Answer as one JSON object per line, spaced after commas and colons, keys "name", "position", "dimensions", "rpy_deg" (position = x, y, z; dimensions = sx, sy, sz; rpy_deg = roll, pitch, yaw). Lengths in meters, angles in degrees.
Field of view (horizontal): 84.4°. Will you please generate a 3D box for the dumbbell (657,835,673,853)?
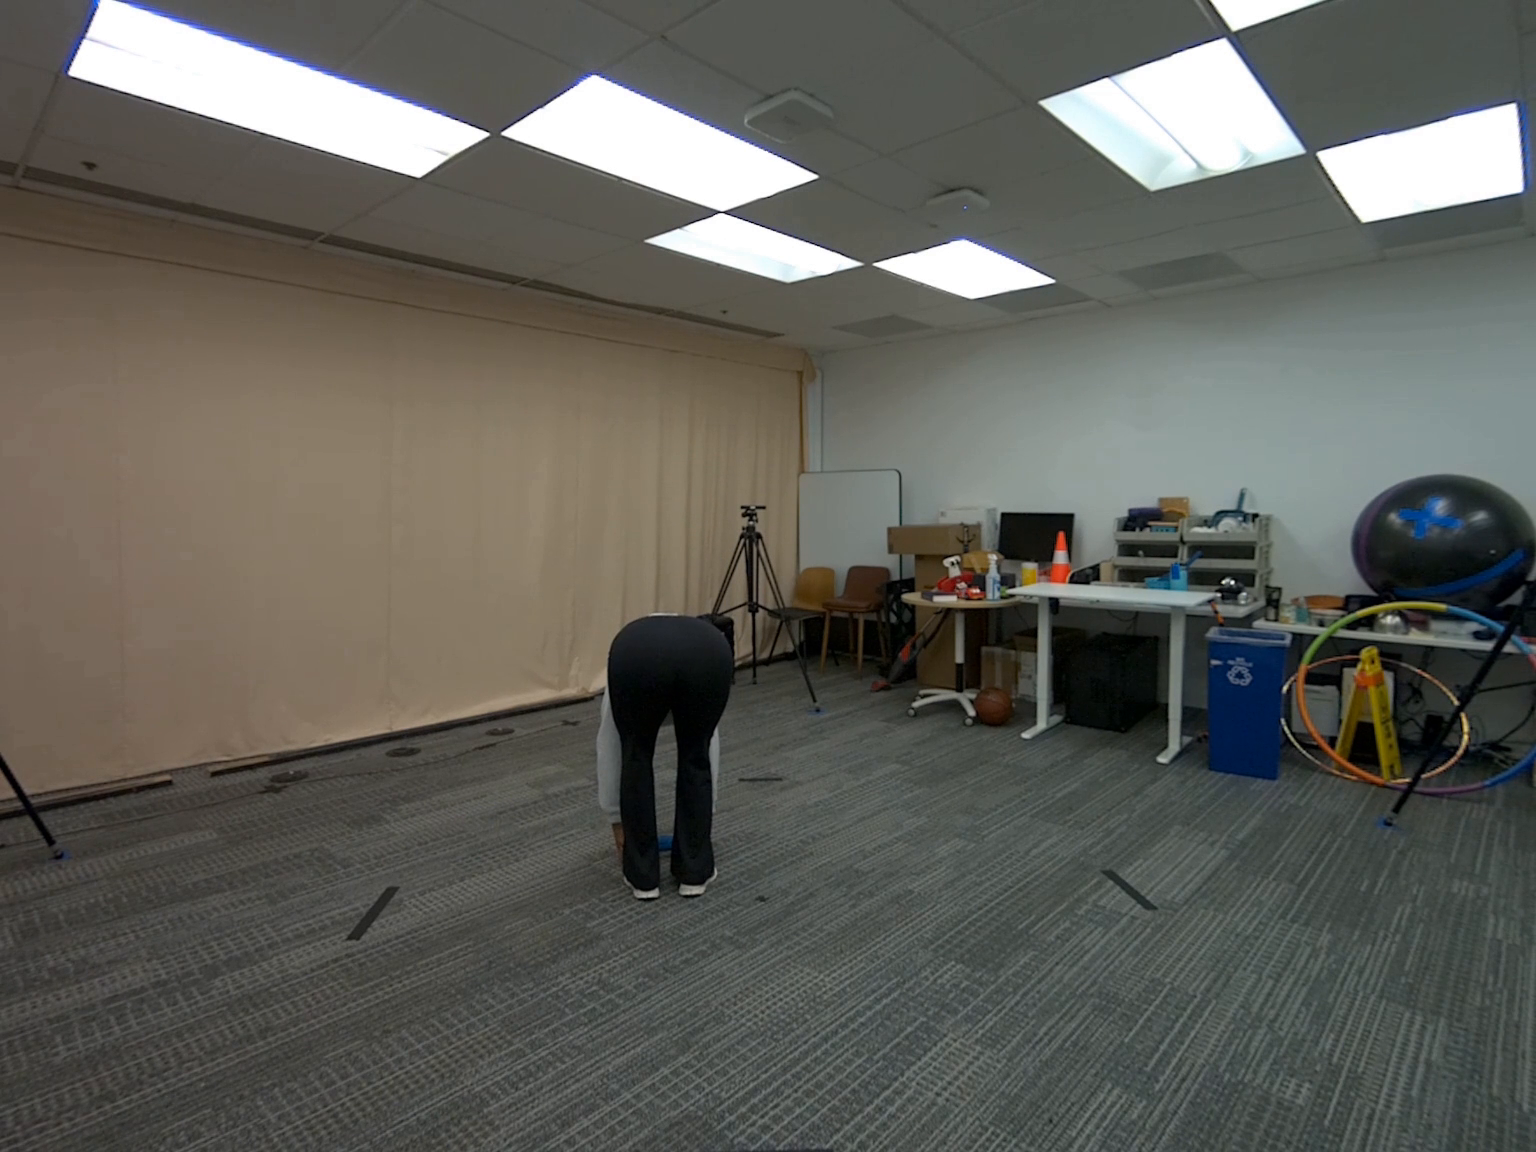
{"name": "dumbbell", "position": [-0.411, 1.062, 3.327], "dimensions": [0.289, 0.121, 0.112], "rpy_deg": [-2, 33, -14]}
